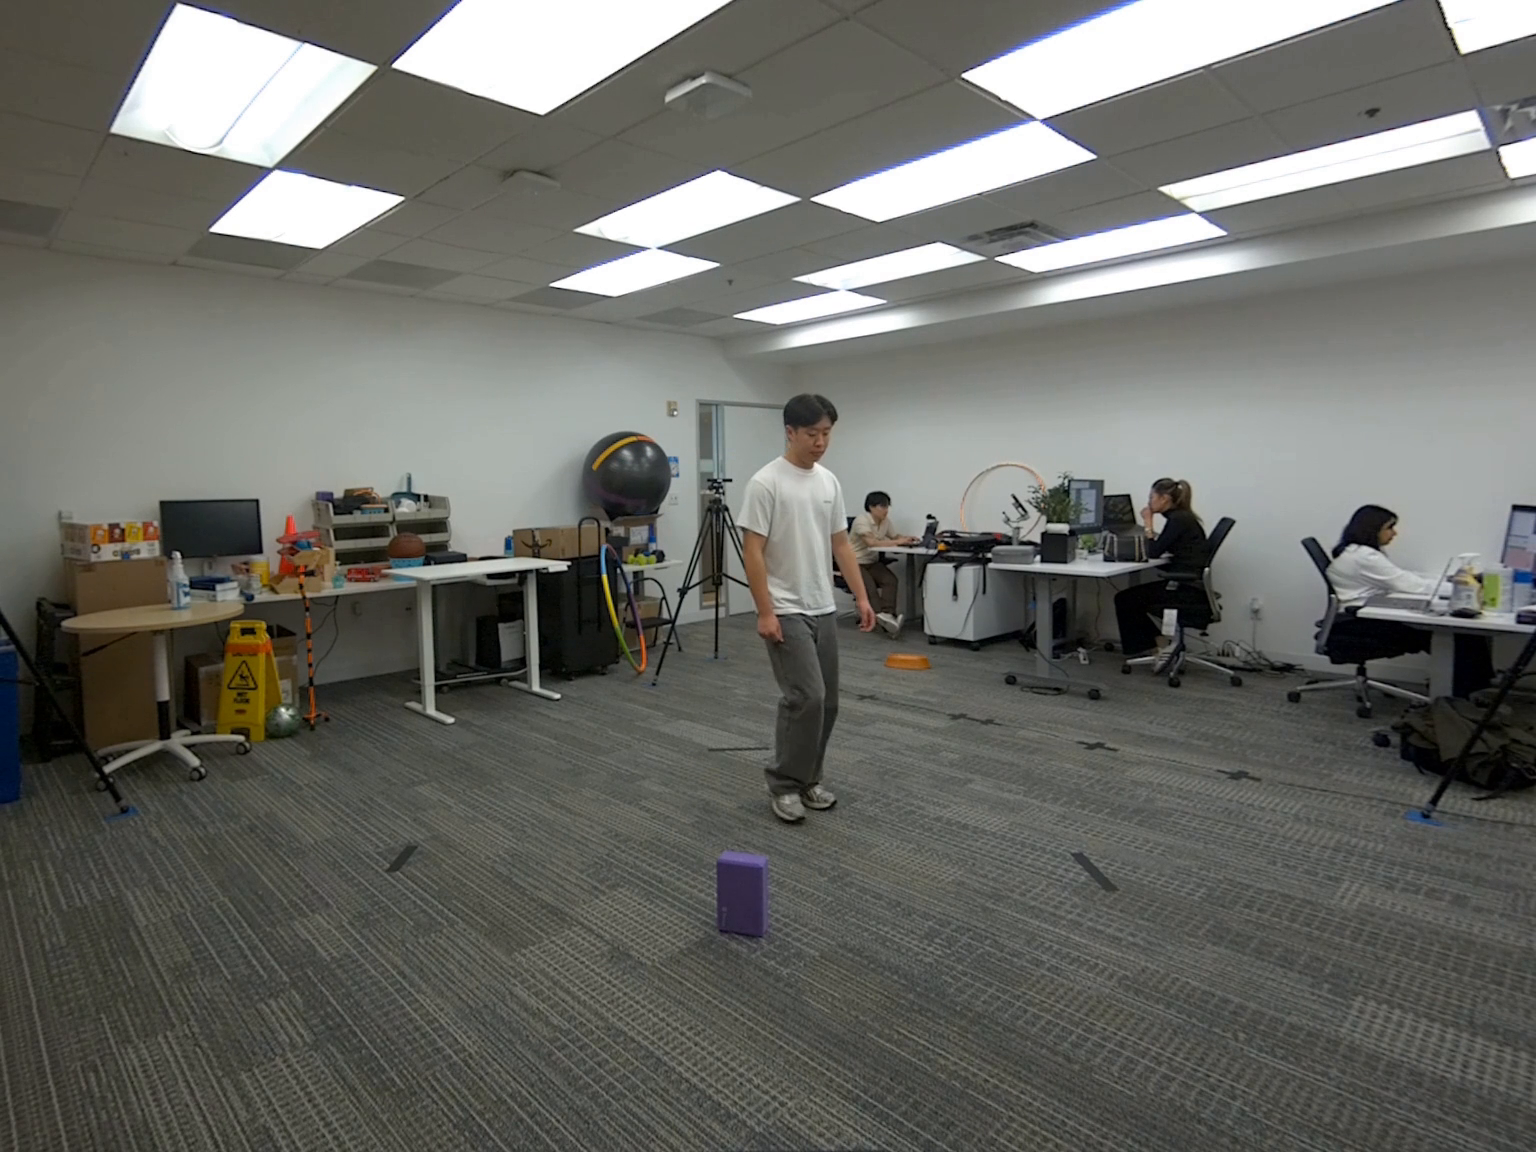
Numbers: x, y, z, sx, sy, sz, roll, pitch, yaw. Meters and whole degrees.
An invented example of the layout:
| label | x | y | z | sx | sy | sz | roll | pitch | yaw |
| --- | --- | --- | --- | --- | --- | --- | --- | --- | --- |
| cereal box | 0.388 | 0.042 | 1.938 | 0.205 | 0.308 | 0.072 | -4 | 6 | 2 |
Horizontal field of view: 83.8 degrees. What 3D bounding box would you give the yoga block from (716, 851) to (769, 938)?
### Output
| label | x | y | z | sx | sy | sz | roll | pitch | yaw |
| --- | --- | --- | --- | --- | --- | --- | --- | --- | --- |
| yoga block | -0.072 | 0.985 | 2.650 | 0.151 | 0.228 | 0.075 | 0 | 4 | 17 |
